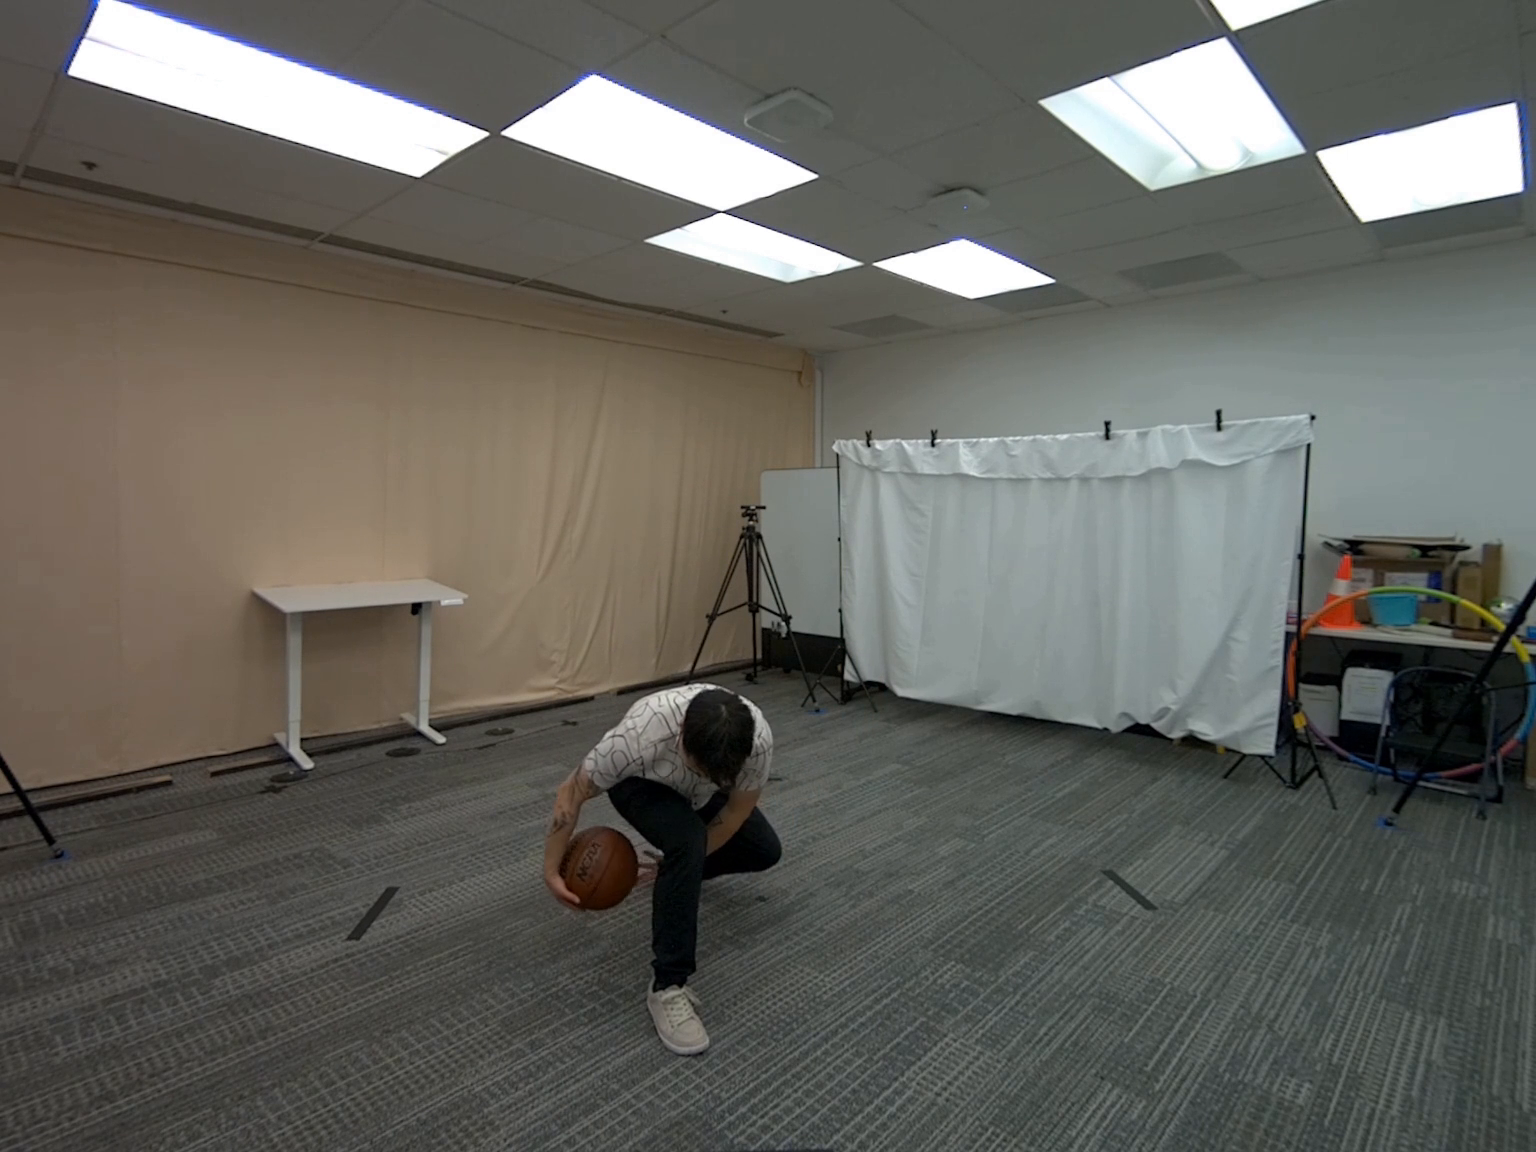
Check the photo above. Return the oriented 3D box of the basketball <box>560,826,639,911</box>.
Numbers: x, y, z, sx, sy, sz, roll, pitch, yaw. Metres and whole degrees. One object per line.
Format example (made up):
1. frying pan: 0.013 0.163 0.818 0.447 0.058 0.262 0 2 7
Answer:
1. basketball: -0.489 0.878 2.532 0.236 0.235 0.237 0 4 -2
